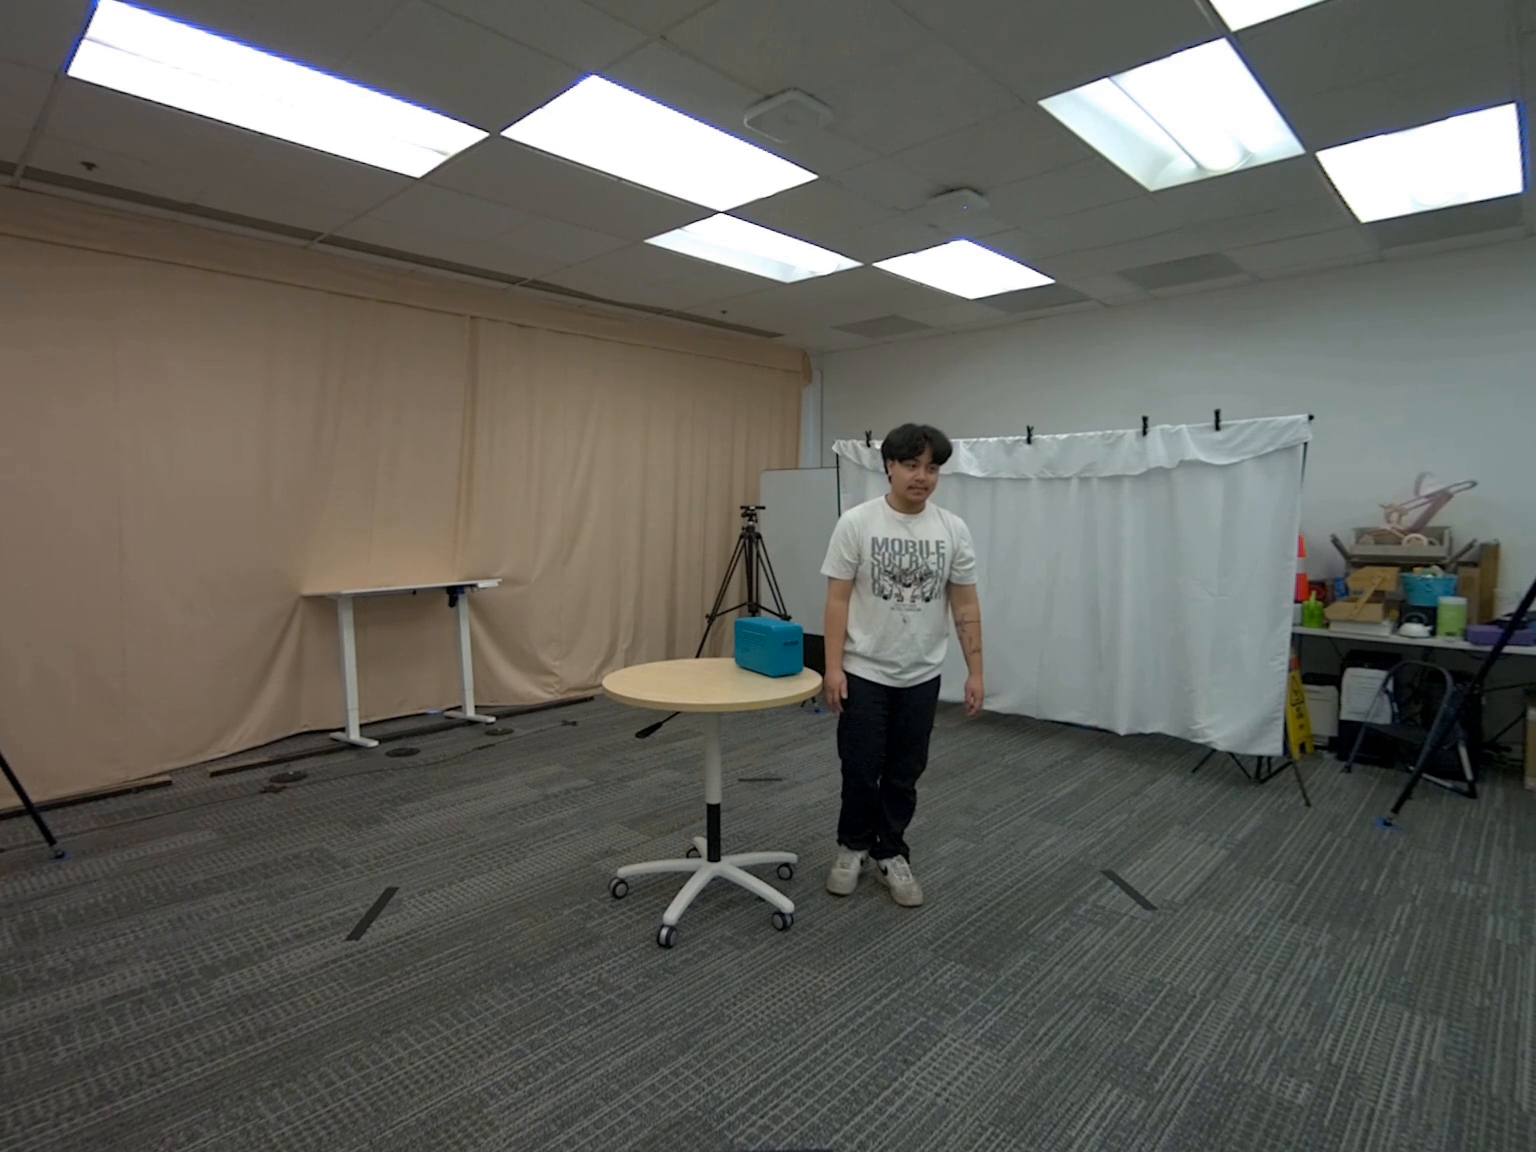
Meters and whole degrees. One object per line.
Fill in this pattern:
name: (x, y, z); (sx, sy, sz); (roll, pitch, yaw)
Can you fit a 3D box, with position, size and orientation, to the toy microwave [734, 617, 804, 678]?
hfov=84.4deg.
toy microwave: (0.009, 0.254, 3.065); (0.148, 0.184, 0.294); (-2, 5, -30)
